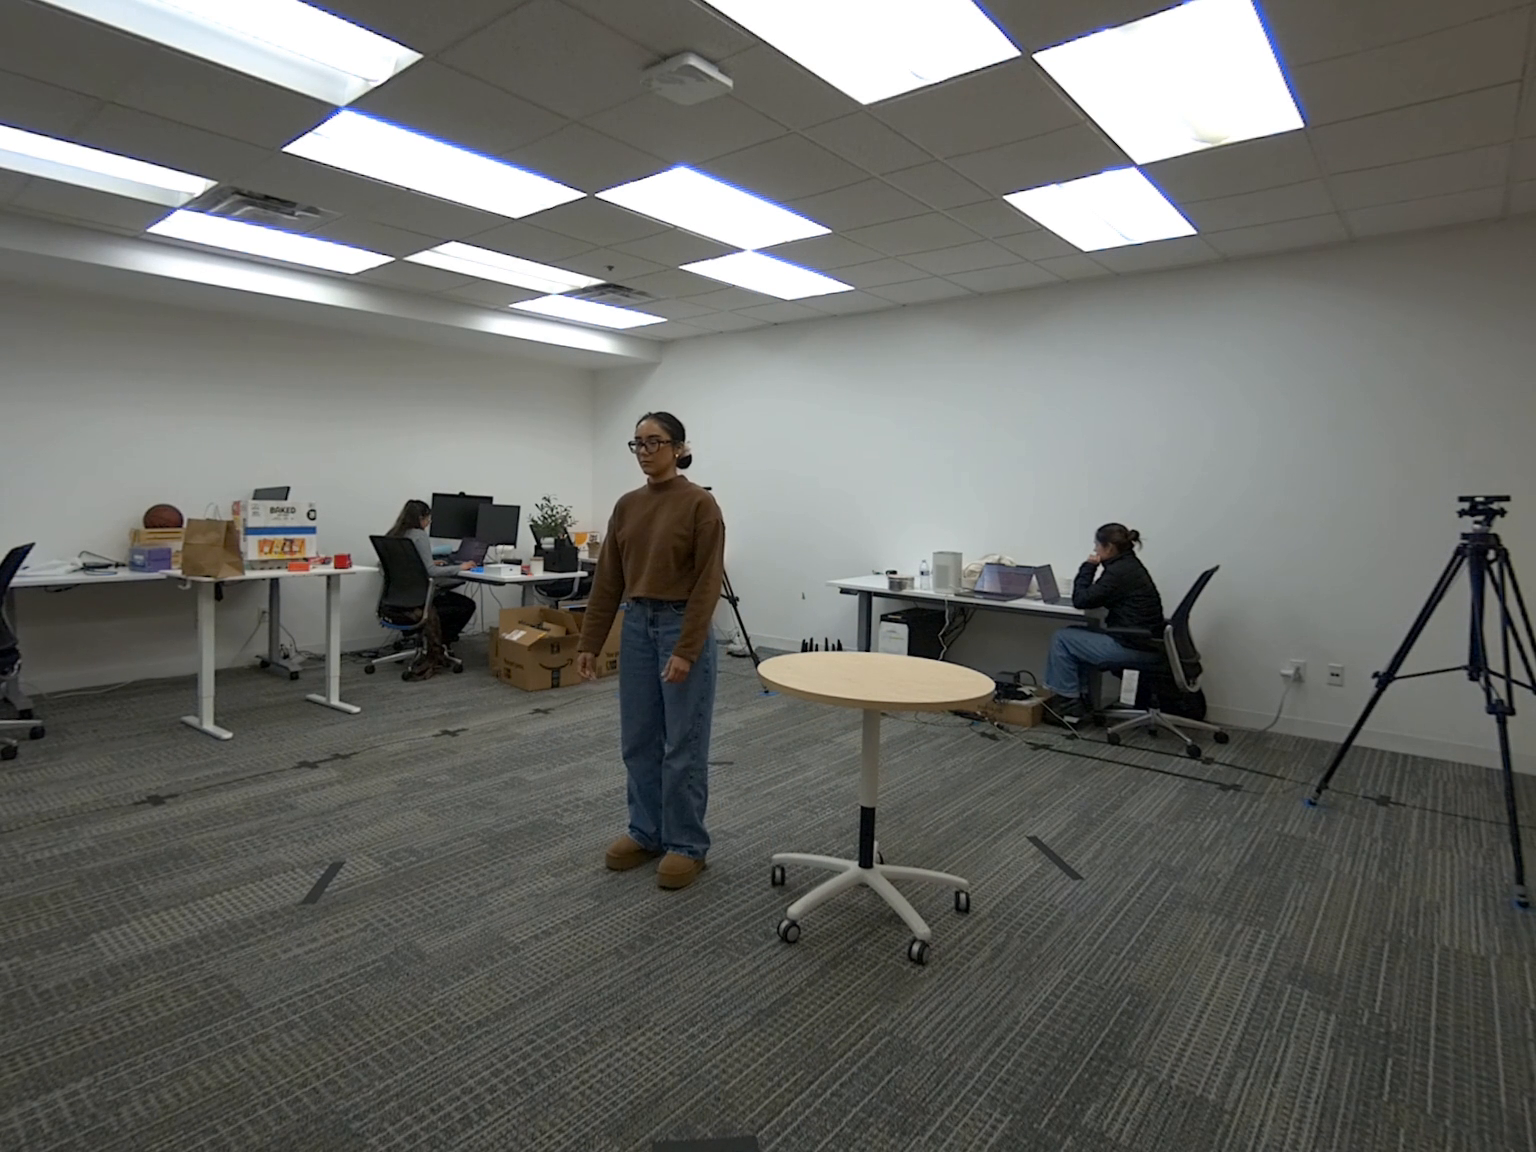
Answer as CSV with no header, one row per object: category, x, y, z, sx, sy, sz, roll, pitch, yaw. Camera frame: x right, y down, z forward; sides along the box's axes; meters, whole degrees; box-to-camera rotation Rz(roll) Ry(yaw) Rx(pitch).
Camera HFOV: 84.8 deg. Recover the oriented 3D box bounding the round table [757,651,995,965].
round table,0.309,0.710,2.812,0.784,0.784,0.789,2,4,-2
